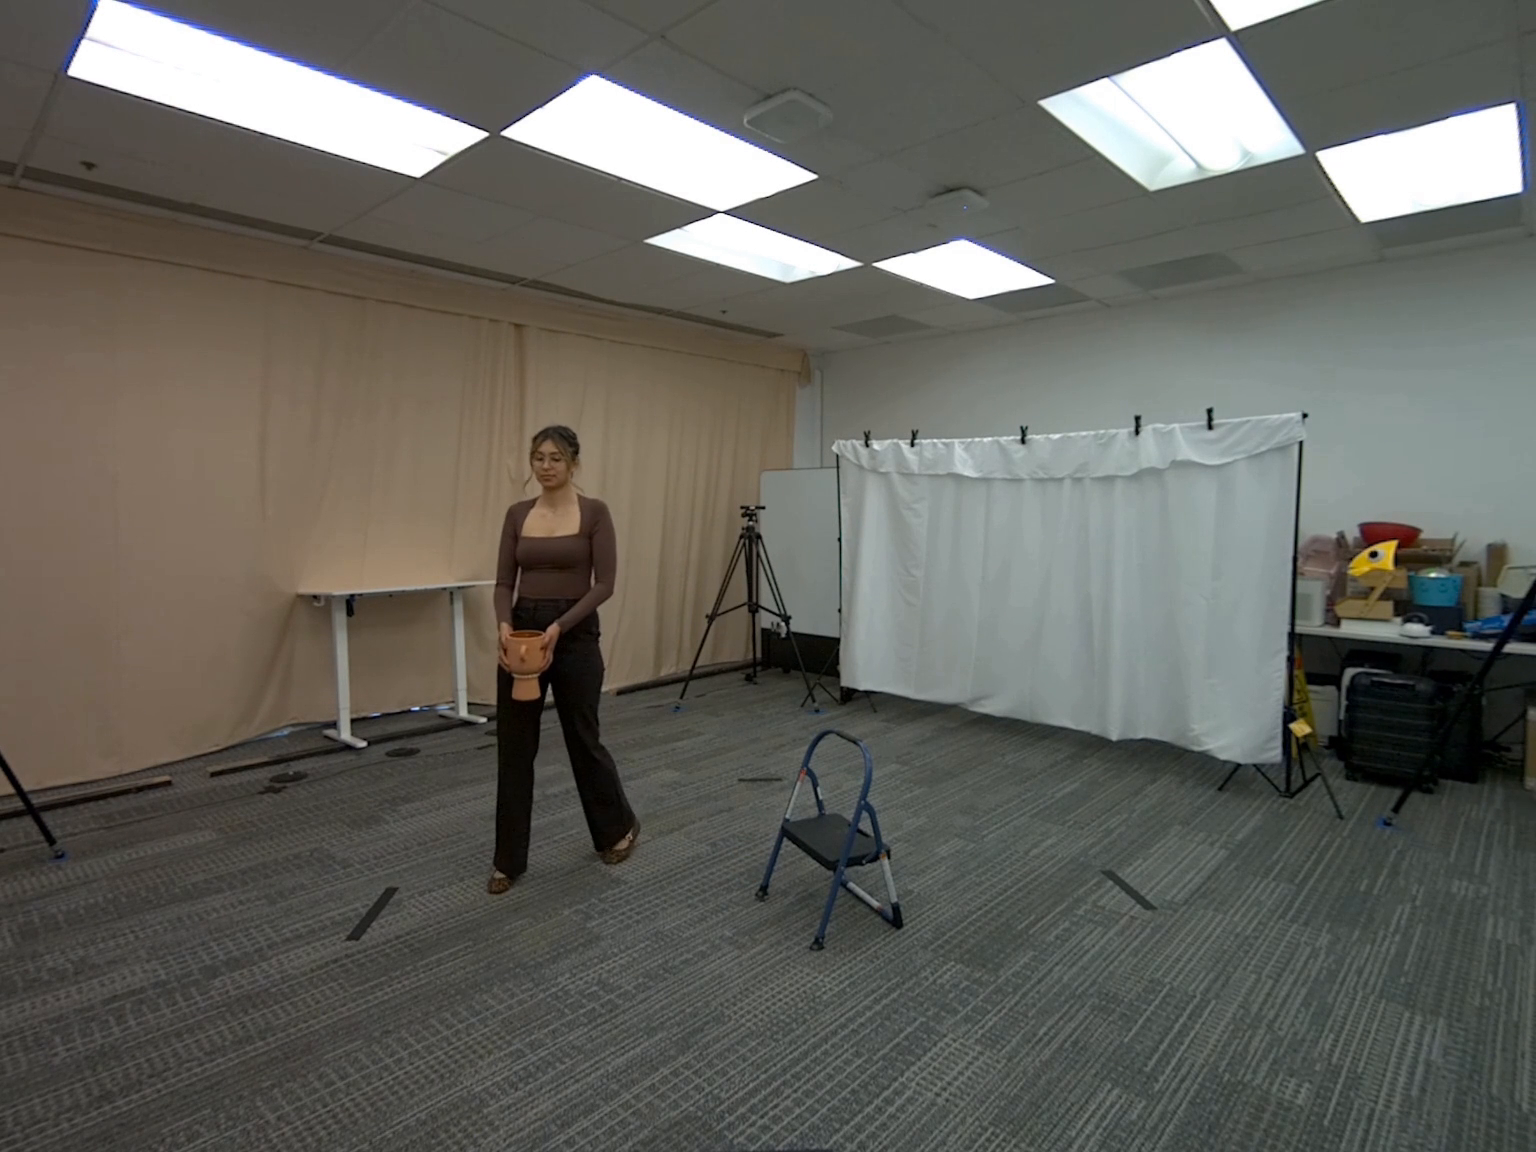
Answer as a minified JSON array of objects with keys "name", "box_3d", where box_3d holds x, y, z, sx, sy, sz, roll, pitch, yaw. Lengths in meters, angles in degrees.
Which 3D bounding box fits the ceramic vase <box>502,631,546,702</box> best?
[{"name":"ceramic vase","box_3d":[-0.835,0.312,2.935,0.139,0.219,0.155,7,9,30]}]
